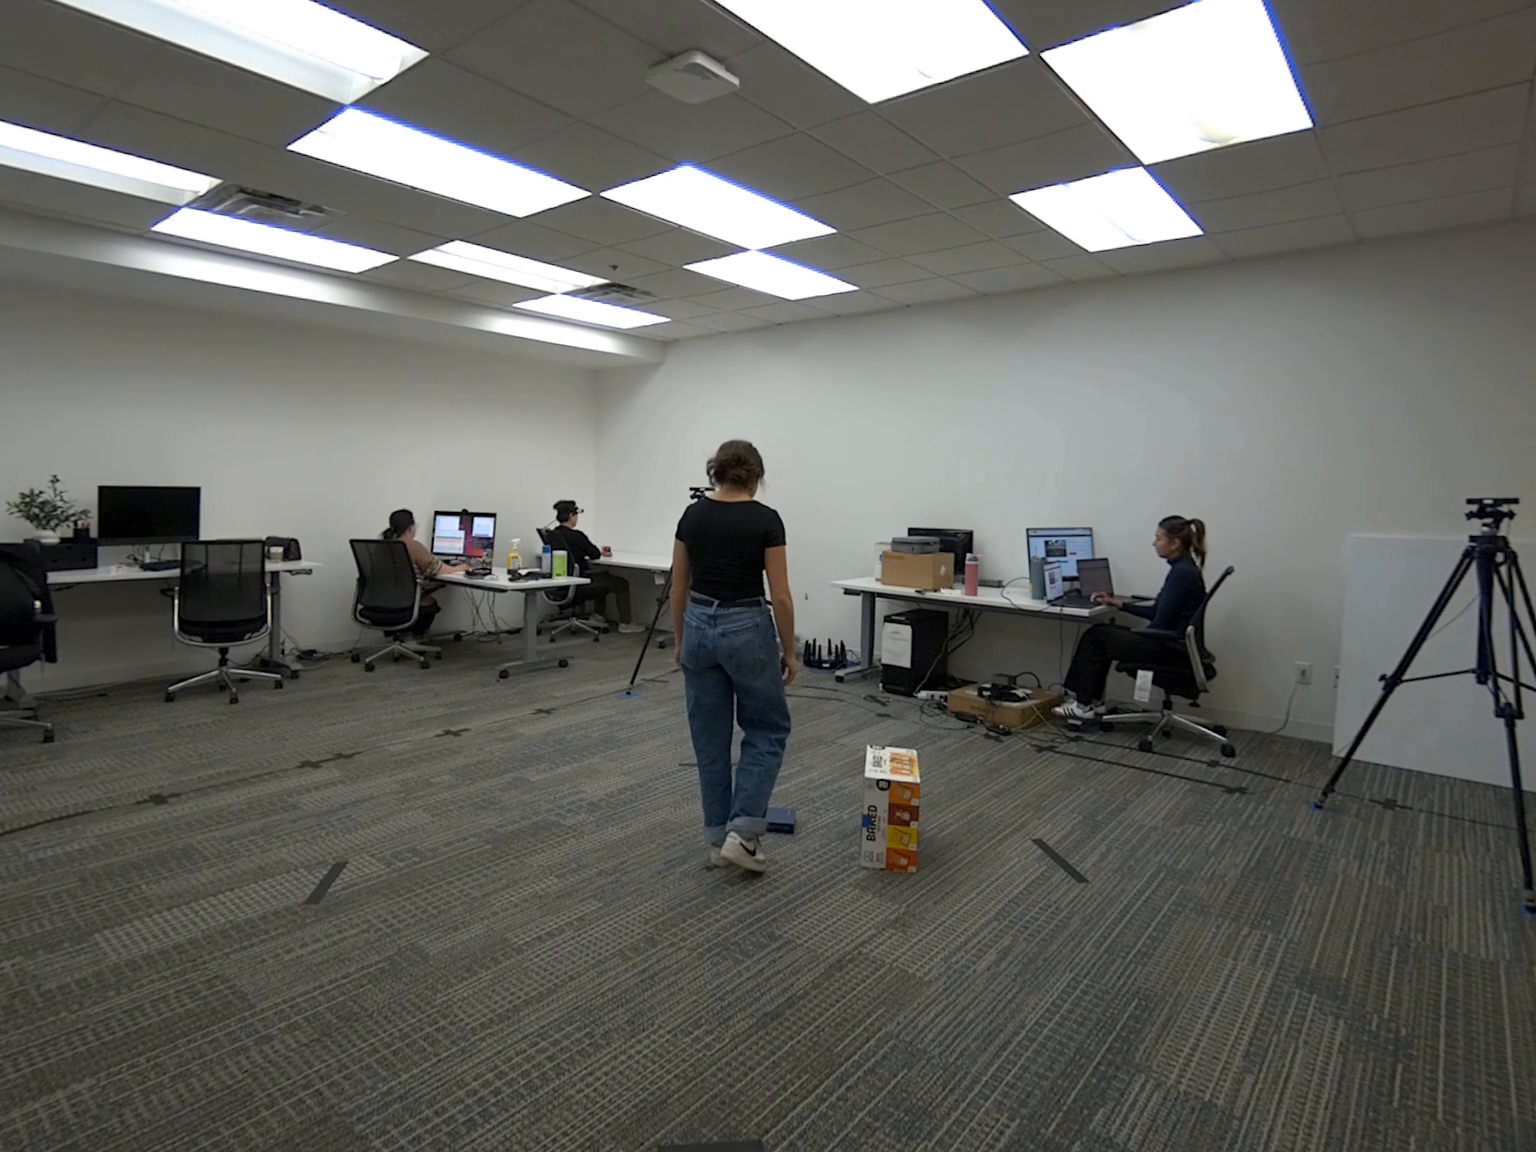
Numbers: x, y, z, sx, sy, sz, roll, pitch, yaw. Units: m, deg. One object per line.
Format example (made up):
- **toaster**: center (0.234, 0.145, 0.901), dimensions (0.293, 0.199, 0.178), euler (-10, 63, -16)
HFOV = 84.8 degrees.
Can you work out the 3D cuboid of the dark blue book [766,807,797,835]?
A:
- **dark blue book**: center (-0.020, 1.004, 3.537), dimensions (0.247, 0.045, 0.162), euler (1, 5, 8)
